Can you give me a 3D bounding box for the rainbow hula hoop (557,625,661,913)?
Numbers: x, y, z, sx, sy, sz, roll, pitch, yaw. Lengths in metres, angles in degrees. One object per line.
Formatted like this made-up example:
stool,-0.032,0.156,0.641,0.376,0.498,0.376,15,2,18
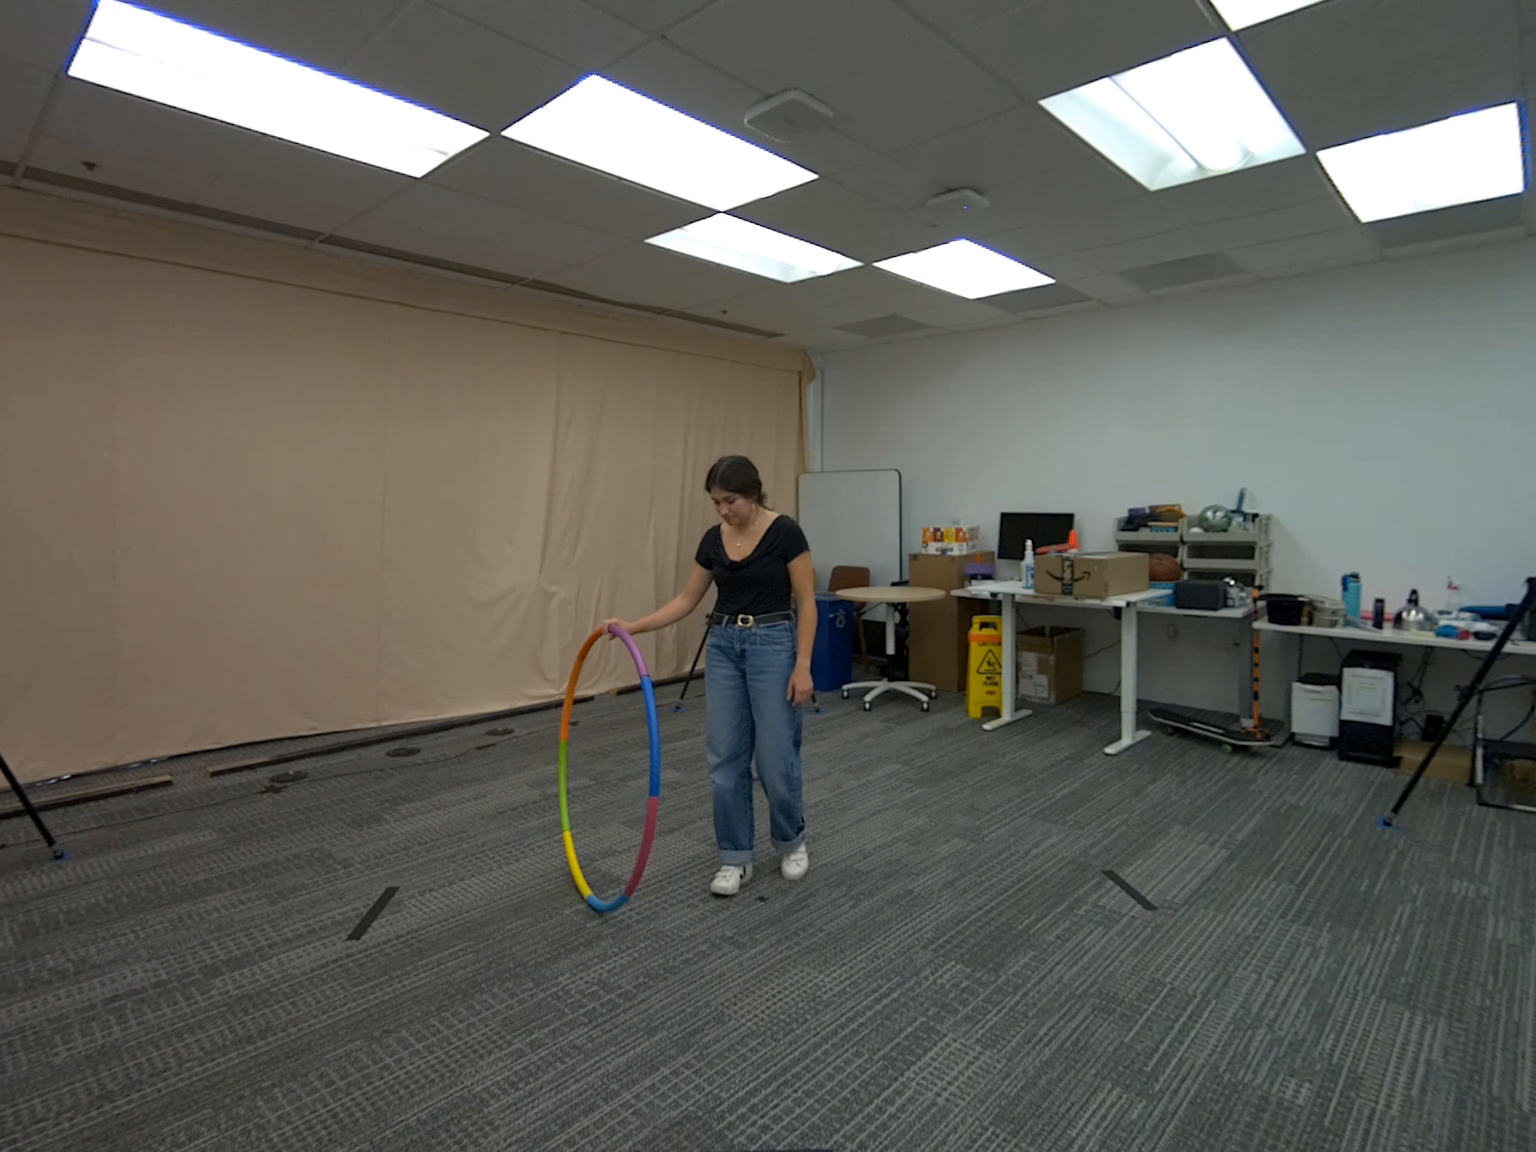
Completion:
rainbow hula hoop,-0.583,0.665,2.995,0.034,0.979,1.006,7,0,-29
